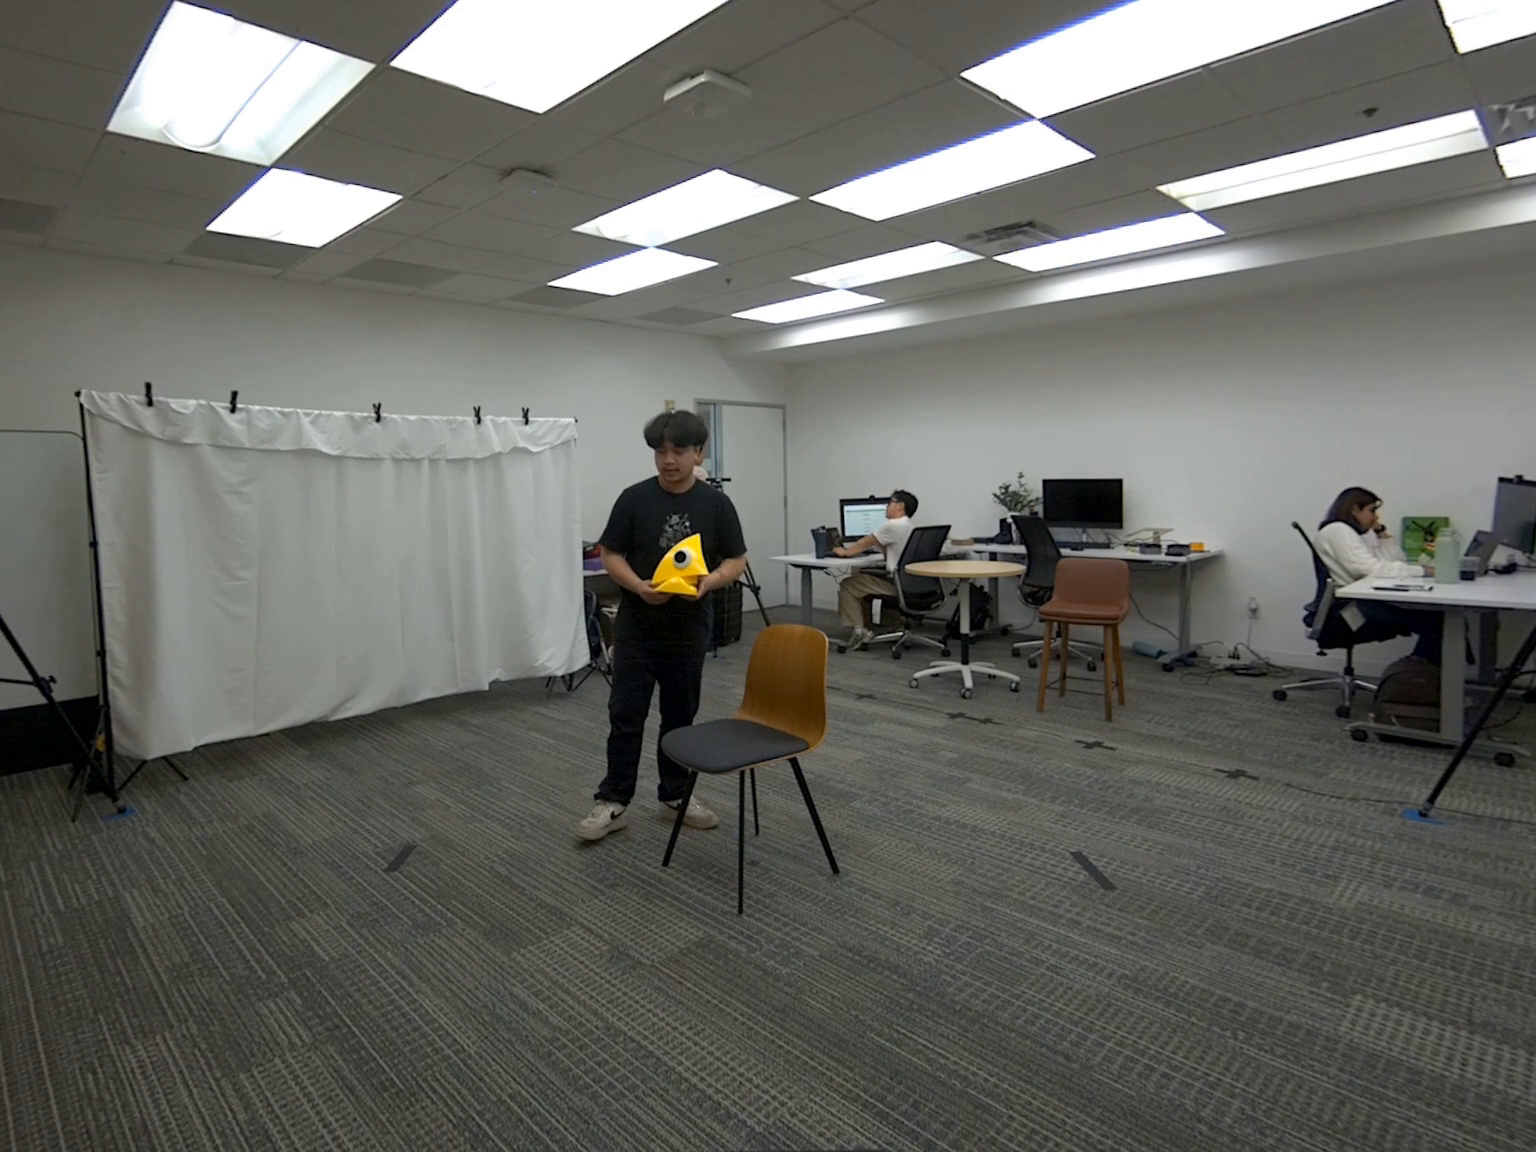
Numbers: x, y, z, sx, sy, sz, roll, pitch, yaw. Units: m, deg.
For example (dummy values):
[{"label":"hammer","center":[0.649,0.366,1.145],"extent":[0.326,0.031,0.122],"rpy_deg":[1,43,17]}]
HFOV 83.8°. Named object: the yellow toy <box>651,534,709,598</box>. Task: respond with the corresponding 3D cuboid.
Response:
[{"label":"yellow toy","center":[-0.335,-0.046,3.164],"extent":[0.190,0.232,0.207],"rpy_deg":[7,-5,-16]}]
